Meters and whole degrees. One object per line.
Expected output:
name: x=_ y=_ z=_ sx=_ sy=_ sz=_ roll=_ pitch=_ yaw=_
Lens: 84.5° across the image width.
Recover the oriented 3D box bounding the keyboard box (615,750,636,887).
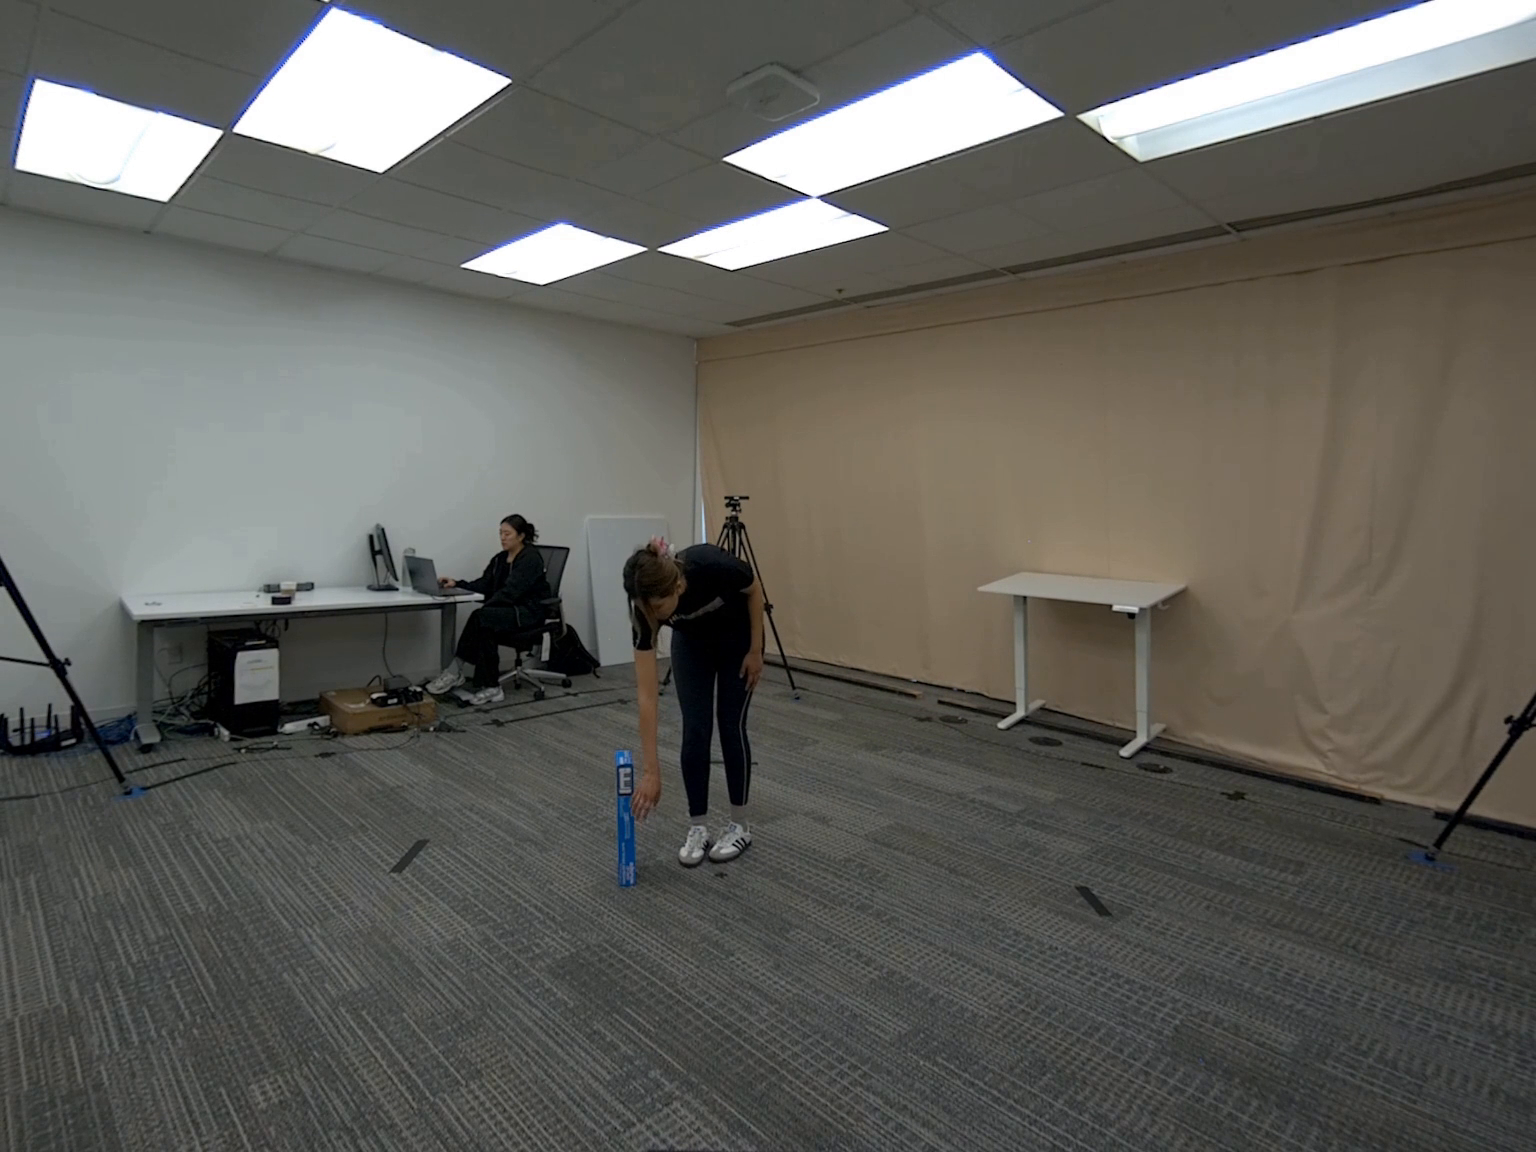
keyboard box: x=-0.529 y=0.881 z=3.070 sx=0.058 sy=0.435 sz=0.178 roll=-2 pitch=4 yaw=-11
